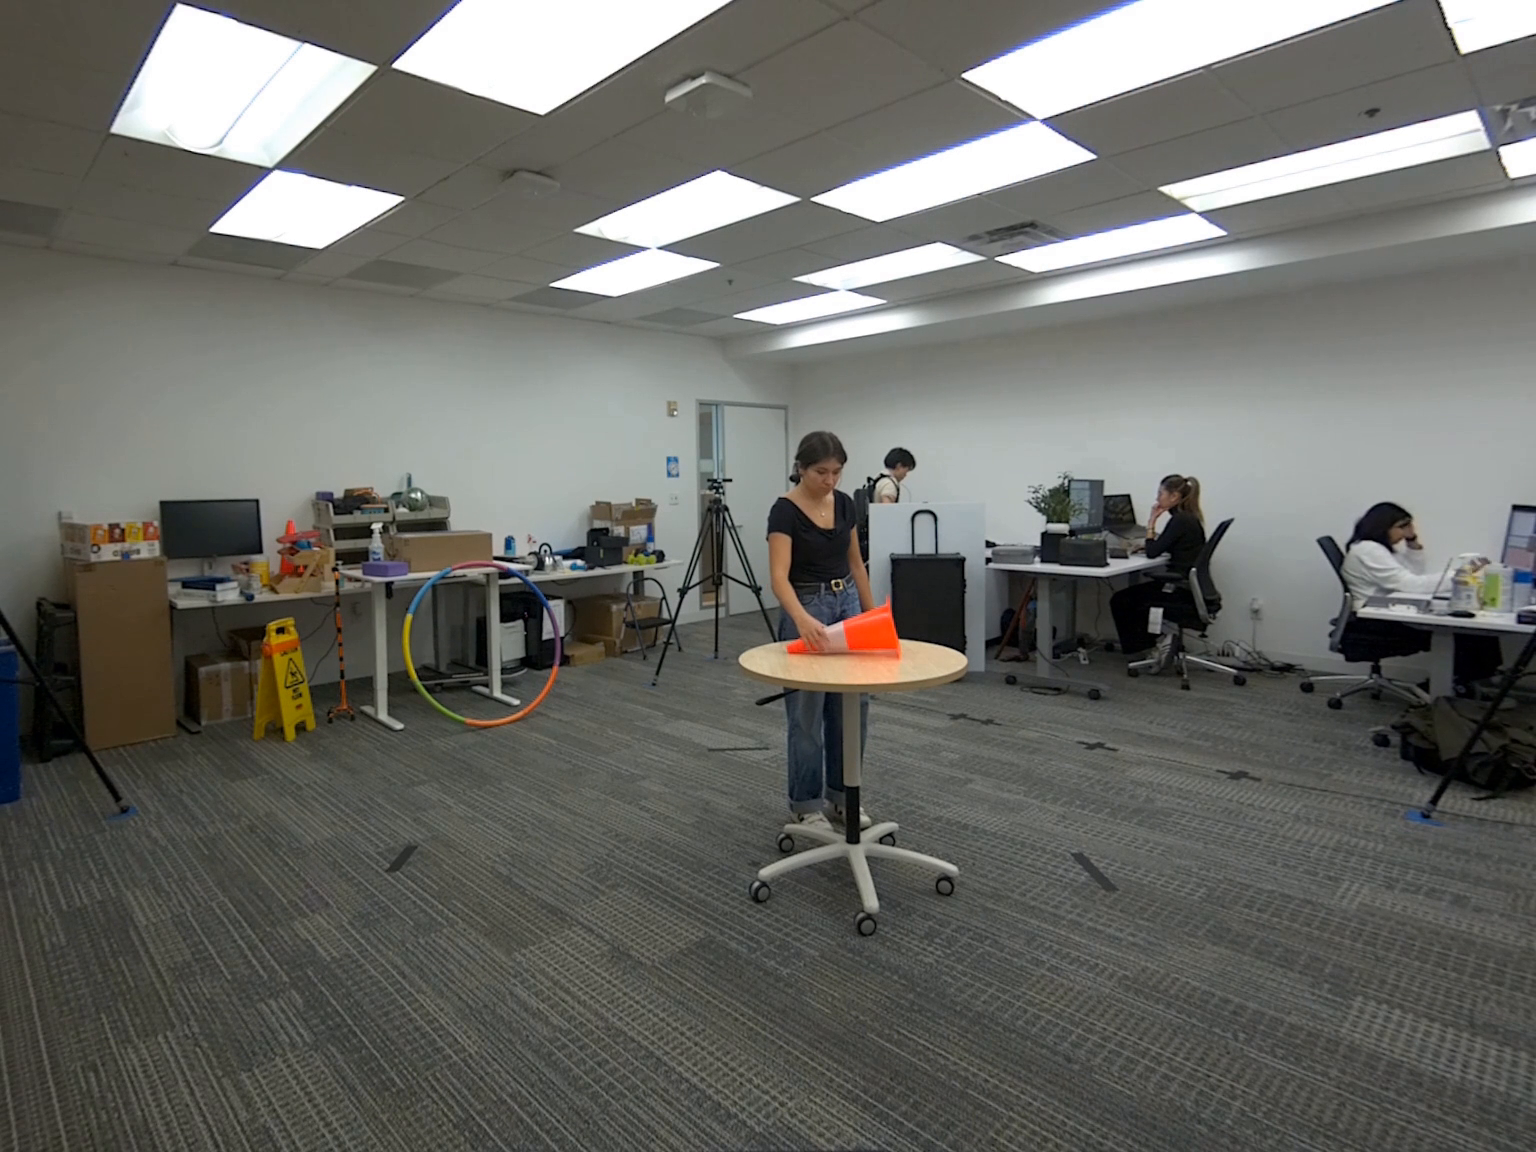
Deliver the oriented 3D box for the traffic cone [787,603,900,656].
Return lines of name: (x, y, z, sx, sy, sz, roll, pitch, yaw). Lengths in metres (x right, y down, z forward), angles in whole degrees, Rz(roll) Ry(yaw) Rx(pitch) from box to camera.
traffic cone: (0.255, 0.219, 2.981, 0.385, 0.202, 0.206, -12, 6, 3)
